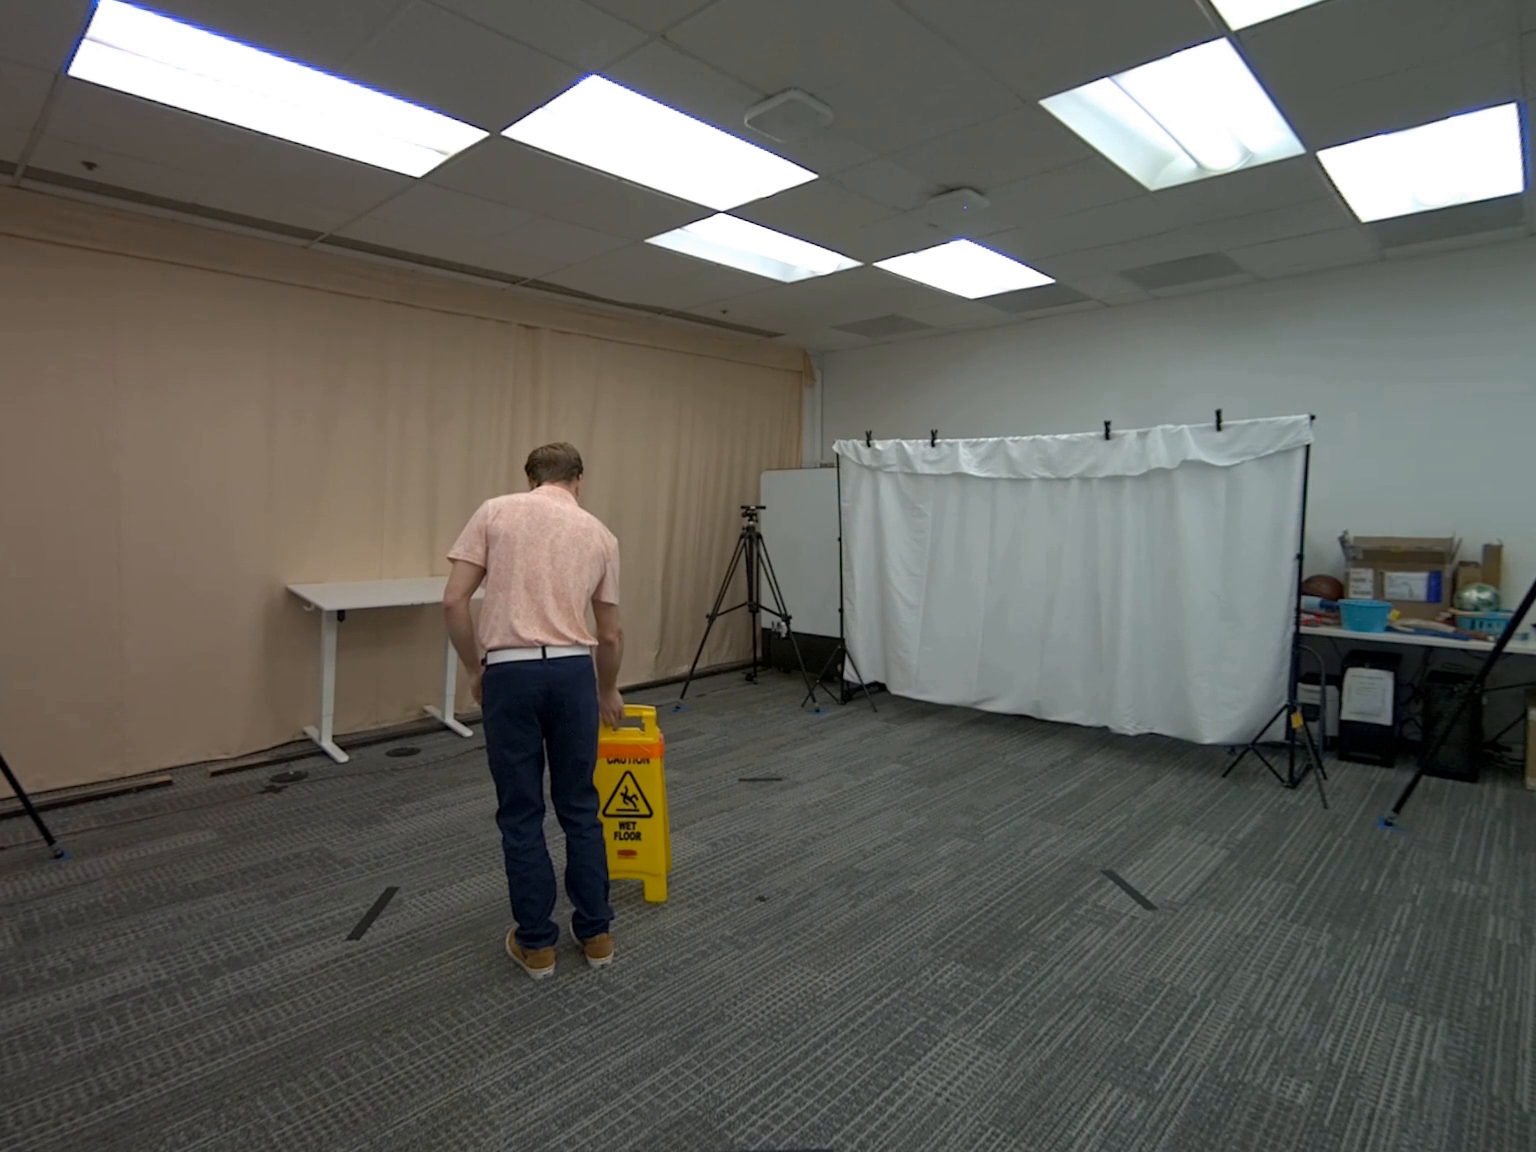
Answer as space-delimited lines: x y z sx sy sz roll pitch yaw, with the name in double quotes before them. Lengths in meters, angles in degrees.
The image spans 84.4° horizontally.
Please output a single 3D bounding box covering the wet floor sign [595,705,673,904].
"wet floor sign" -0.498 0.785 2.997 0.282 0.644 0.291 2 4 -2
